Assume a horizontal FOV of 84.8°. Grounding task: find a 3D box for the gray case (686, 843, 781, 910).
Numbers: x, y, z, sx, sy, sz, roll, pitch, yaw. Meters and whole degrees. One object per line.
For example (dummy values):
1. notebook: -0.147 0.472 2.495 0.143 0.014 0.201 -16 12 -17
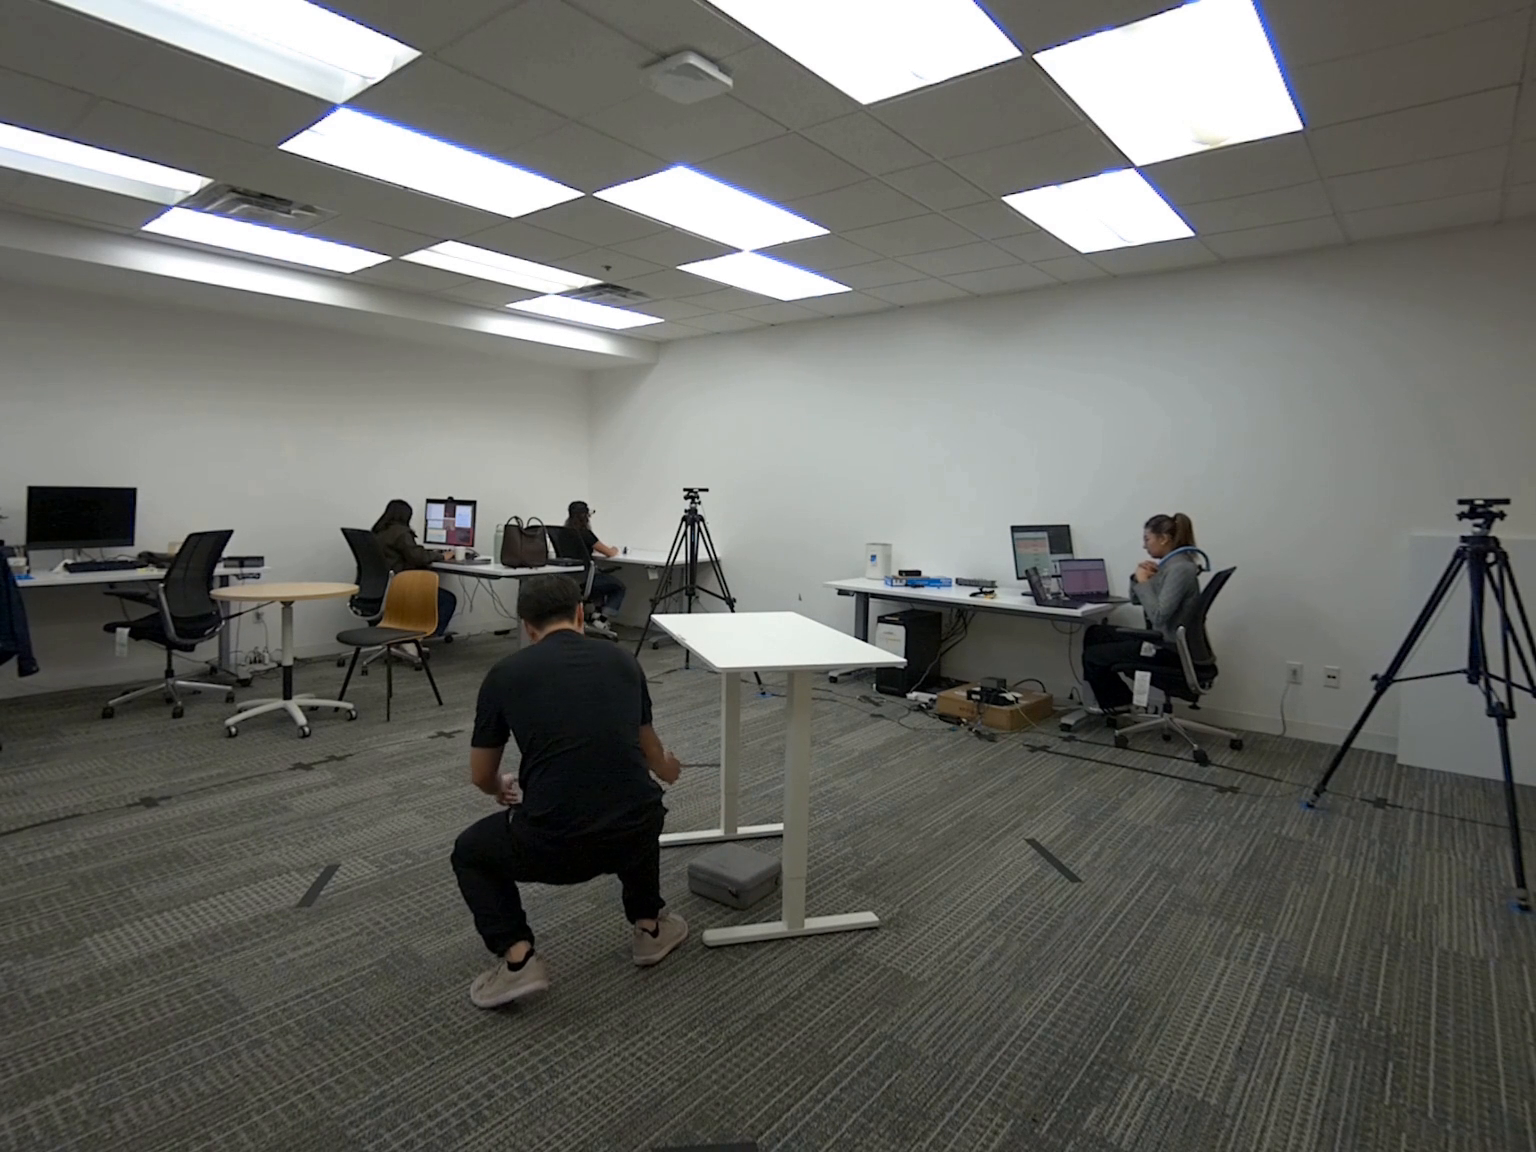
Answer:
1. gray case: -0.122 1.025 2.961 0.265 0.104 0.253 4 4 36
